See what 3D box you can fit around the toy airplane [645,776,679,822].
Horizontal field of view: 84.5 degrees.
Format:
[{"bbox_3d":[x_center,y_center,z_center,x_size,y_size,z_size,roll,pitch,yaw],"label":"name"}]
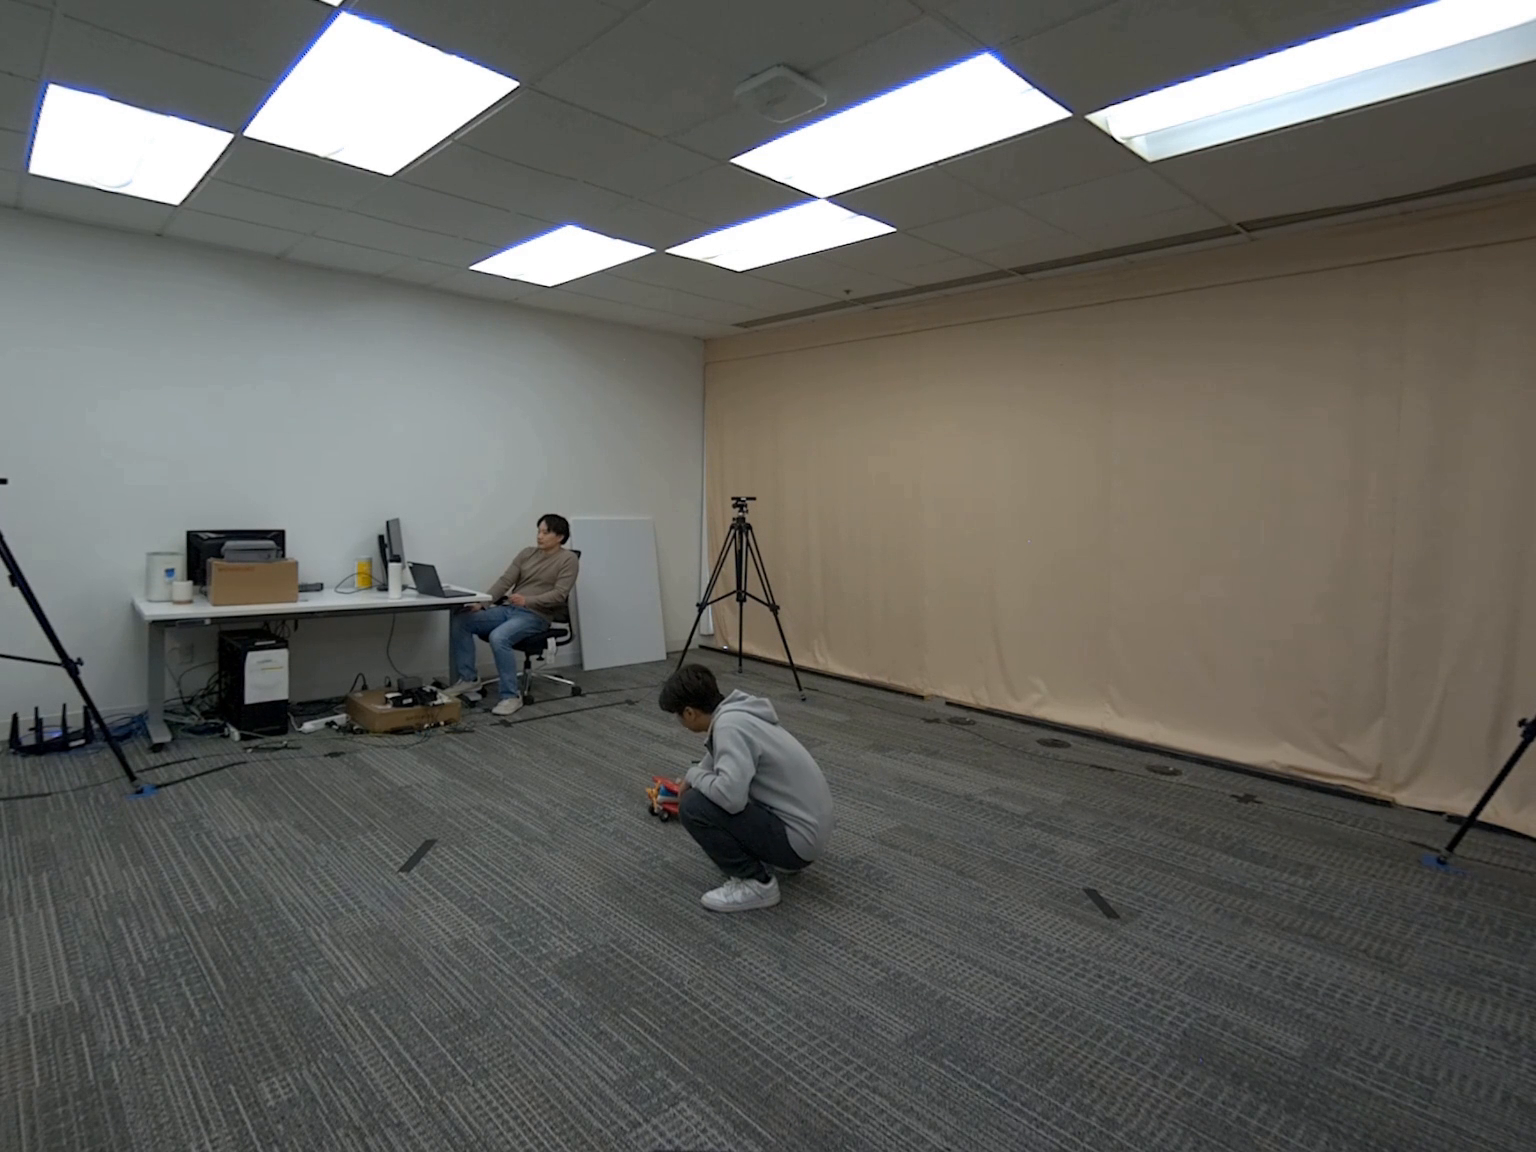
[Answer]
[{"bbox_3d":[-0.426,0.972,3.714,0.256,0.156,0.255,2,7,25],"label":"toy airplane"}]
